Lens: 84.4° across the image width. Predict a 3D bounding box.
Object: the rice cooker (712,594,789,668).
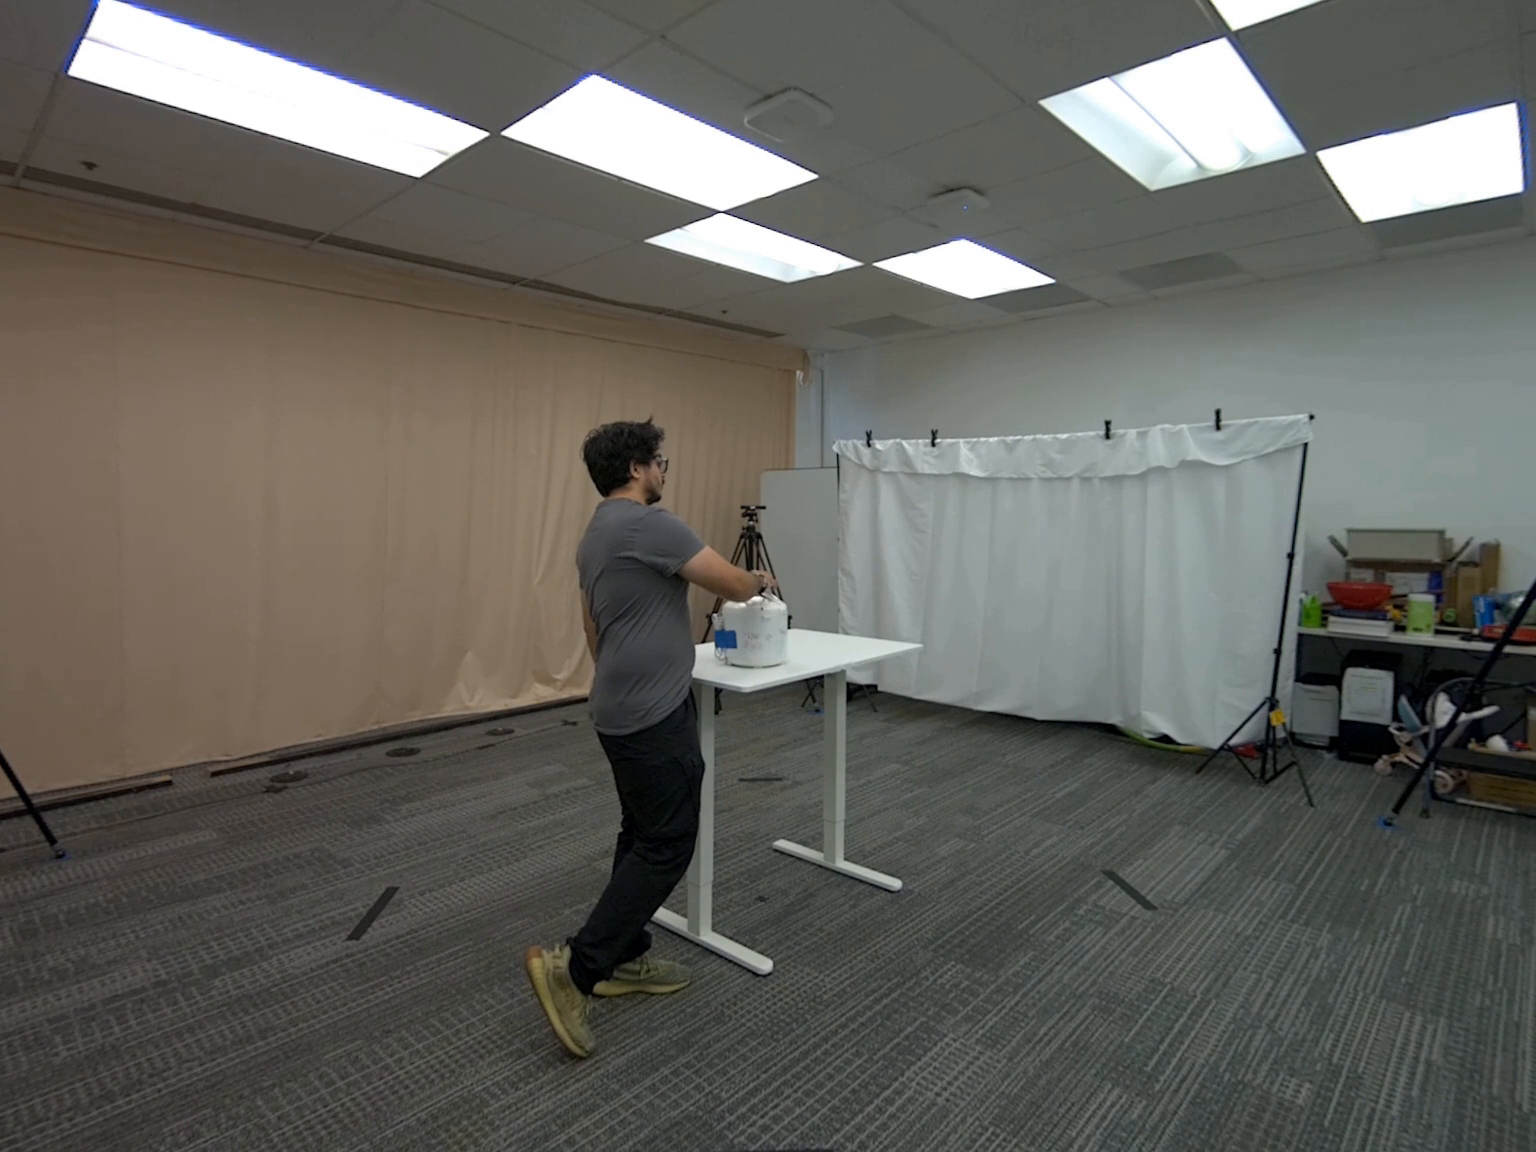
[{"bbox_3d":[-0.041,0.167,2.714,0.227,0.232,0.211,3,5,32],"label":"rice cooker"}]
